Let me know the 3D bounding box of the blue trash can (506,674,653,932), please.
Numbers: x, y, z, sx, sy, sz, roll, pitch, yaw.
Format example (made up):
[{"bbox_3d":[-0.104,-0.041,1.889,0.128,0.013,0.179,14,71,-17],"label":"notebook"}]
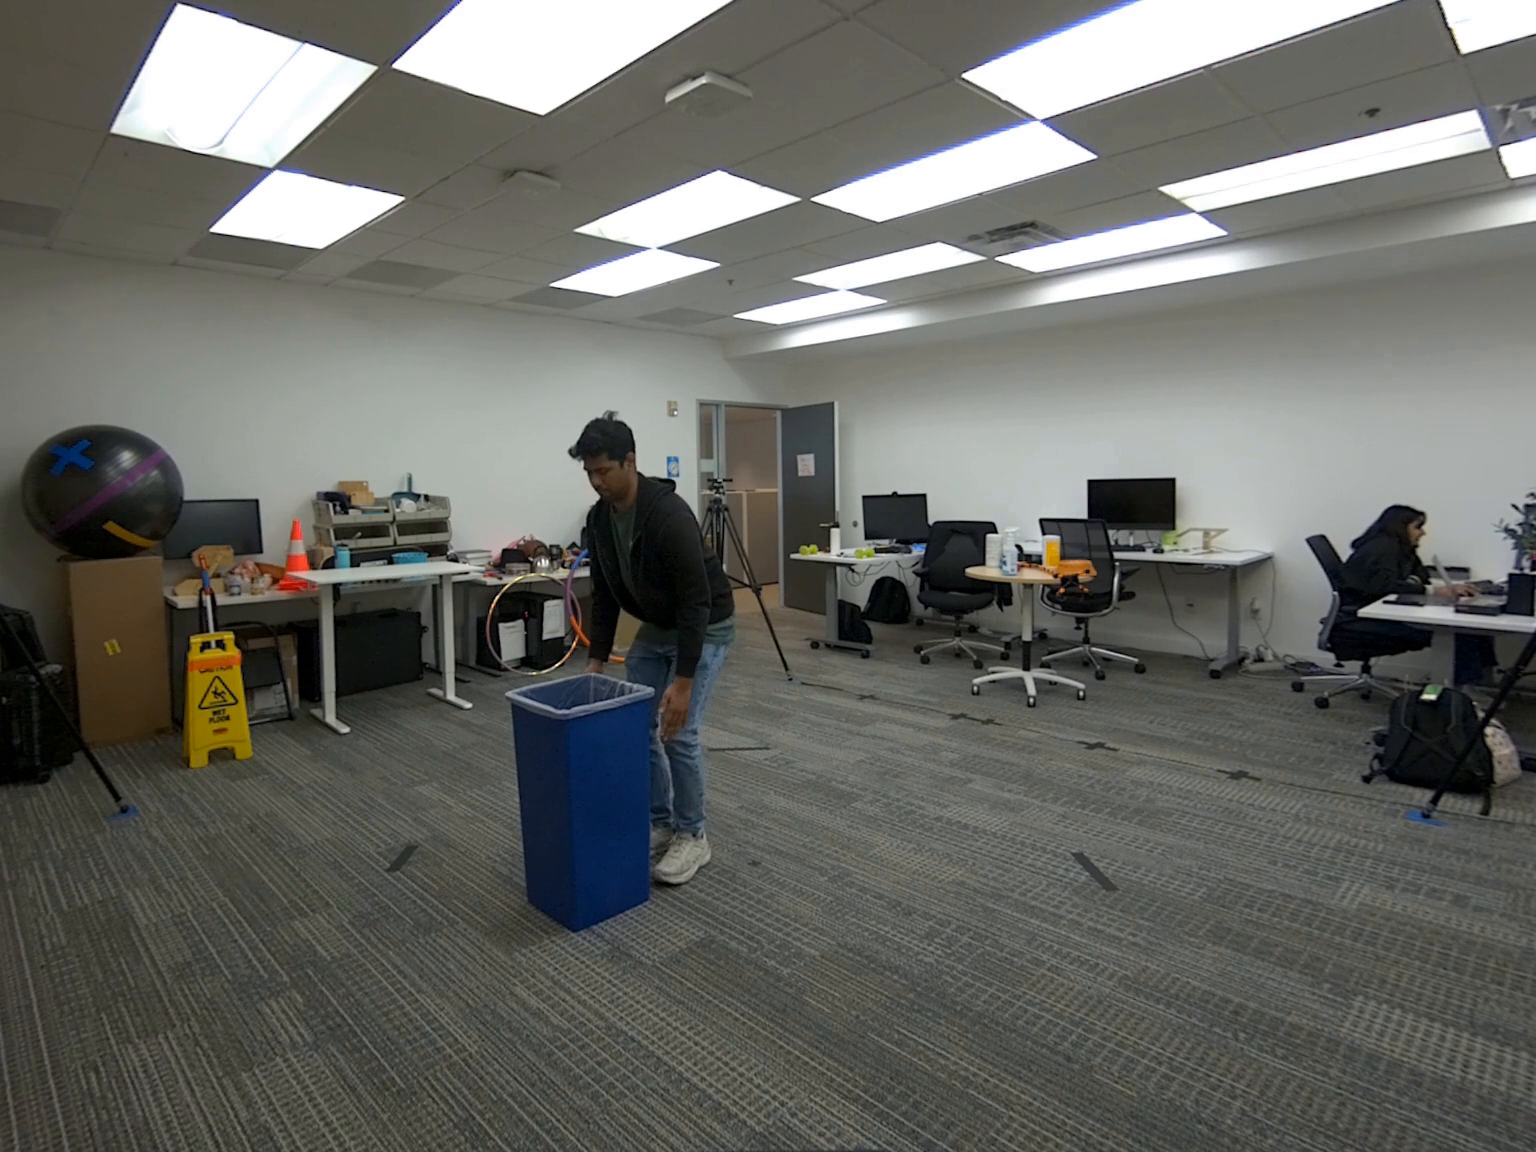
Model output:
[{"bbox_3d":[-0.609,0.730,2.827,0.364,0.711,0.389,-6,6,-45],"label":"blue trash can"}]
